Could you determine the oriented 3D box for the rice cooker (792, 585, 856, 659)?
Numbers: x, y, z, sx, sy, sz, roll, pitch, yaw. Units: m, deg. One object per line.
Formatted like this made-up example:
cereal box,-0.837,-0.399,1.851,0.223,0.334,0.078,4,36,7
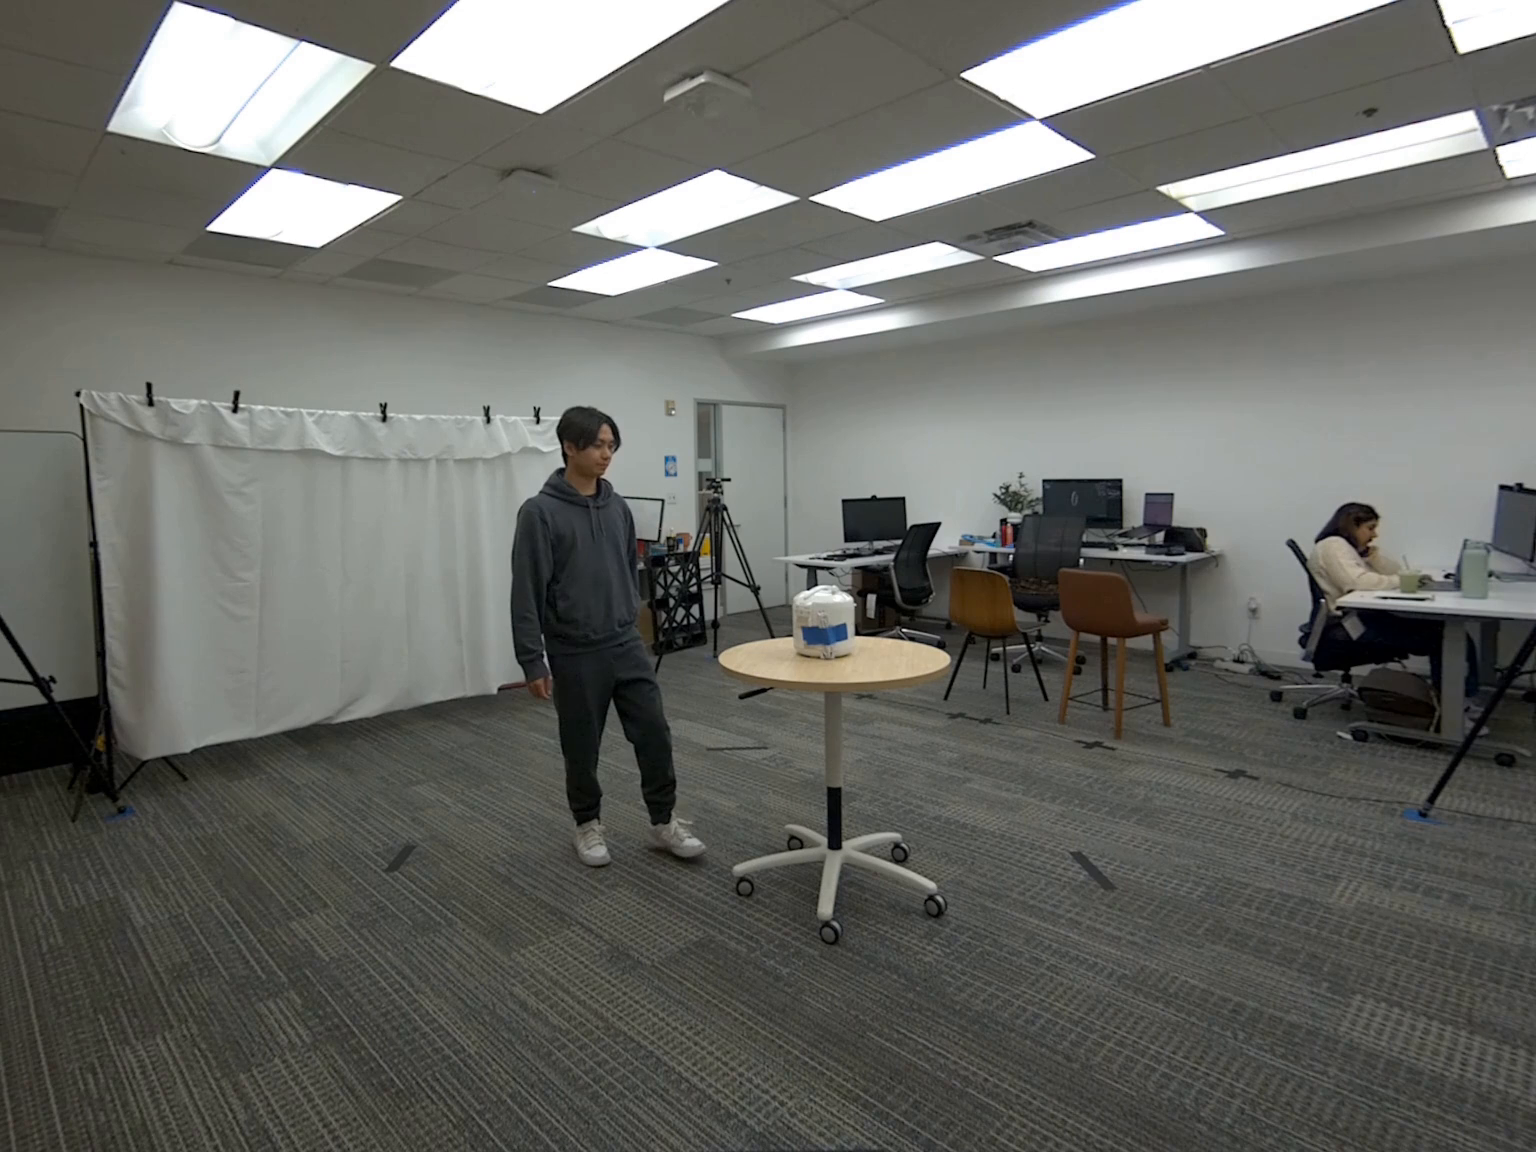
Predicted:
rice cooker,0.185,0.149,2.896,0.215,0.232,0.224,-5,7,-44
